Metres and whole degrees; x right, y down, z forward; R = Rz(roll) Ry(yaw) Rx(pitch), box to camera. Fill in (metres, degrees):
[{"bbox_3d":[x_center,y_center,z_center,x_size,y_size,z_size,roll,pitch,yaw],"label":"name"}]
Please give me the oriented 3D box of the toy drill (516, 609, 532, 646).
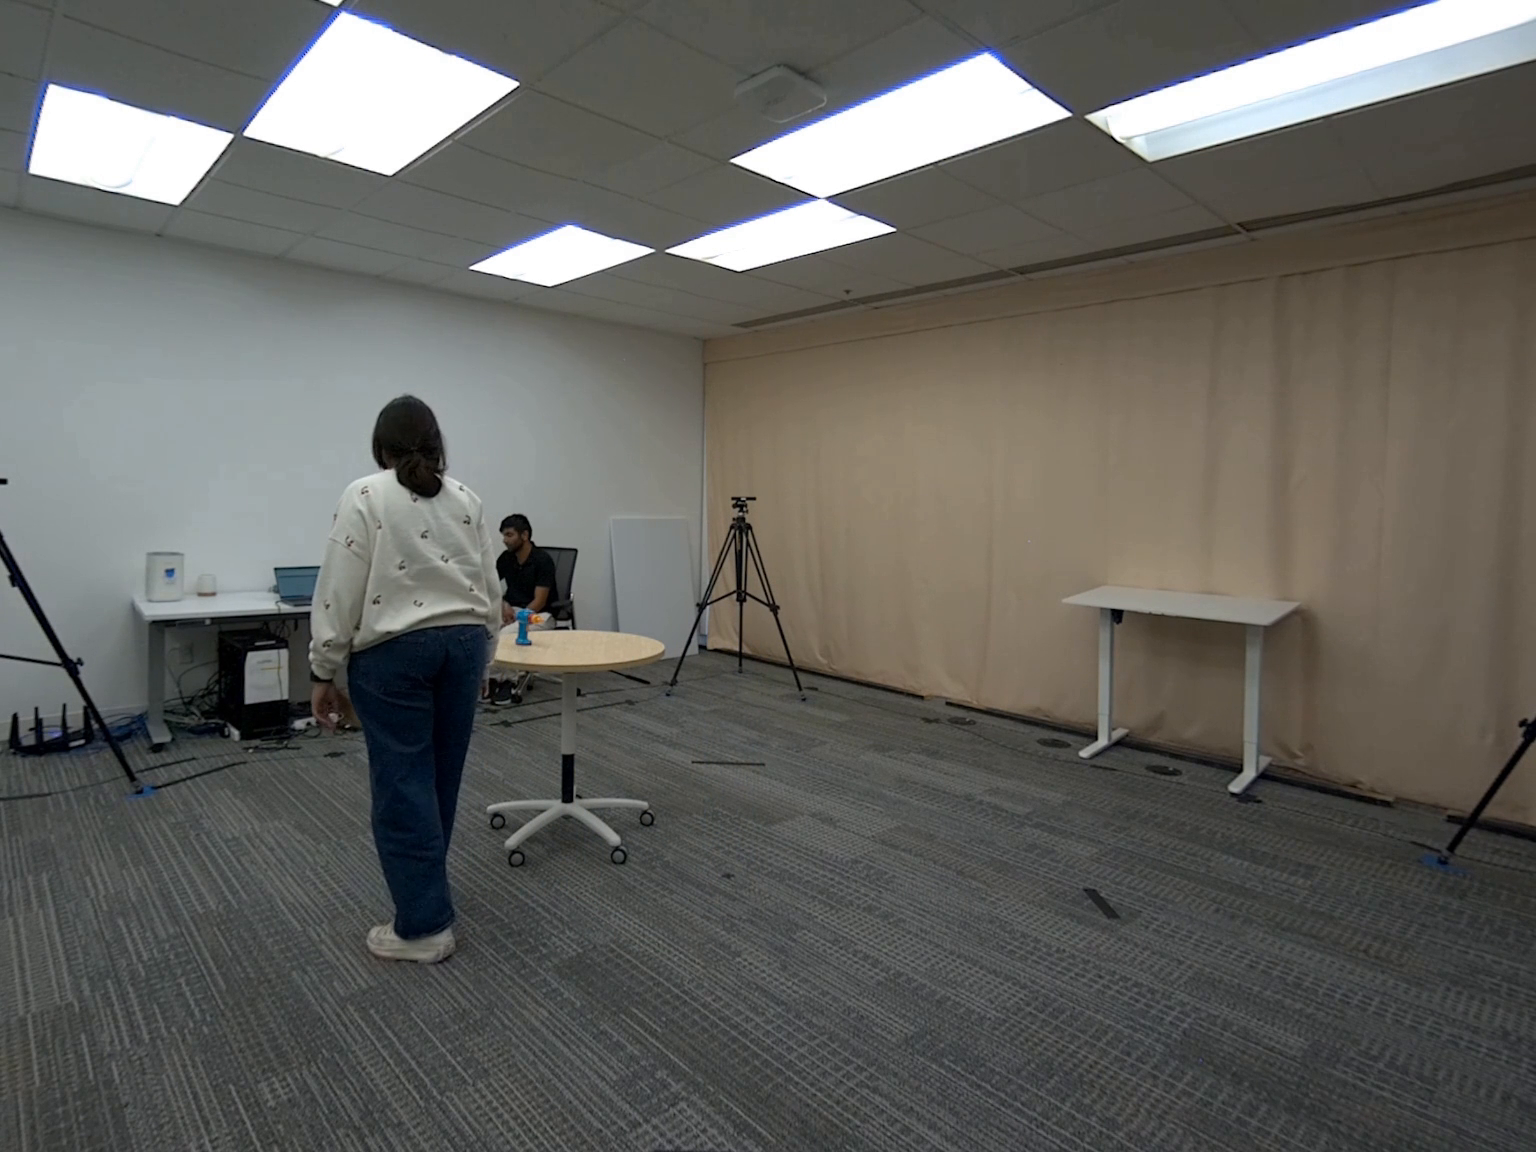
[{"bbox_3d":[-0.968,0.207,3.379,0.173,0.146,0.060,3,1,31],"label":"toy drill"}]
